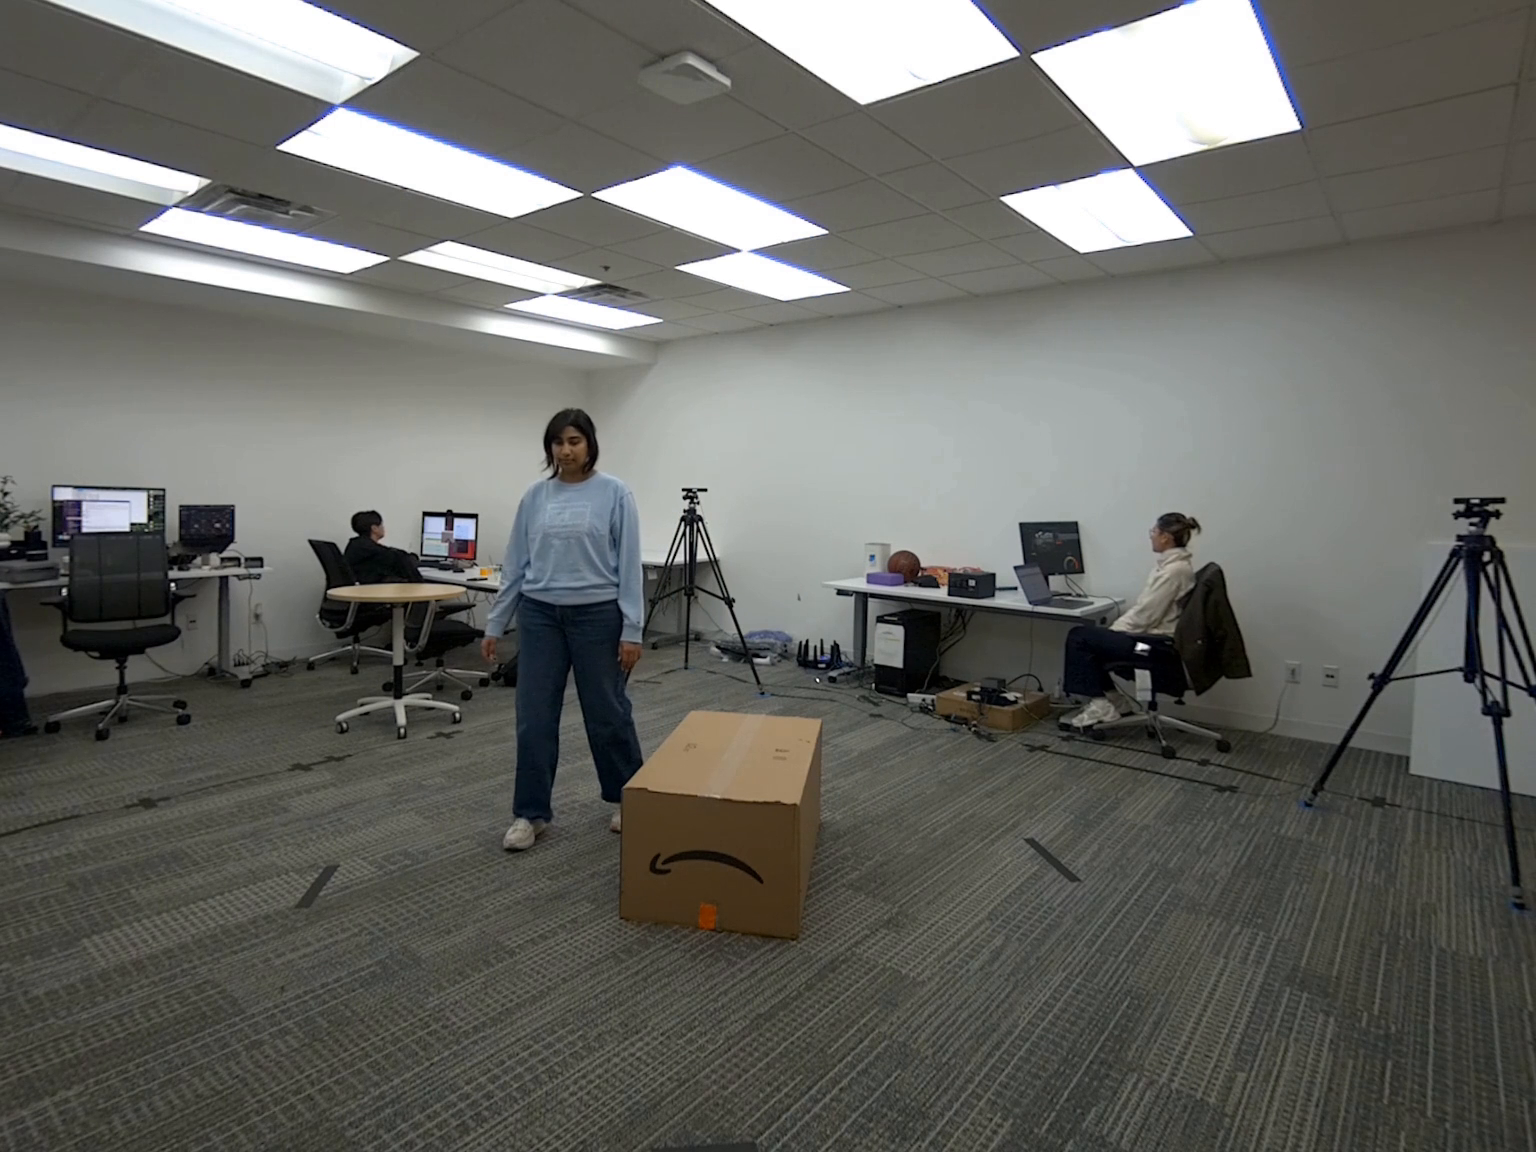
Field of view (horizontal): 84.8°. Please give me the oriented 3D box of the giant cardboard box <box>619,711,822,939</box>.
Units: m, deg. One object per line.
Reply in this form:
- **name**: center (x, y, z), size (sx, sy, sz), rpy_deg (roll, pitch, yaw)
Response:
- **giant cardboard box**: center (-0.132, 0.849, 3.159), size (0.584, 0.425, 1.018), rpy_deg (2, 5, 9)
